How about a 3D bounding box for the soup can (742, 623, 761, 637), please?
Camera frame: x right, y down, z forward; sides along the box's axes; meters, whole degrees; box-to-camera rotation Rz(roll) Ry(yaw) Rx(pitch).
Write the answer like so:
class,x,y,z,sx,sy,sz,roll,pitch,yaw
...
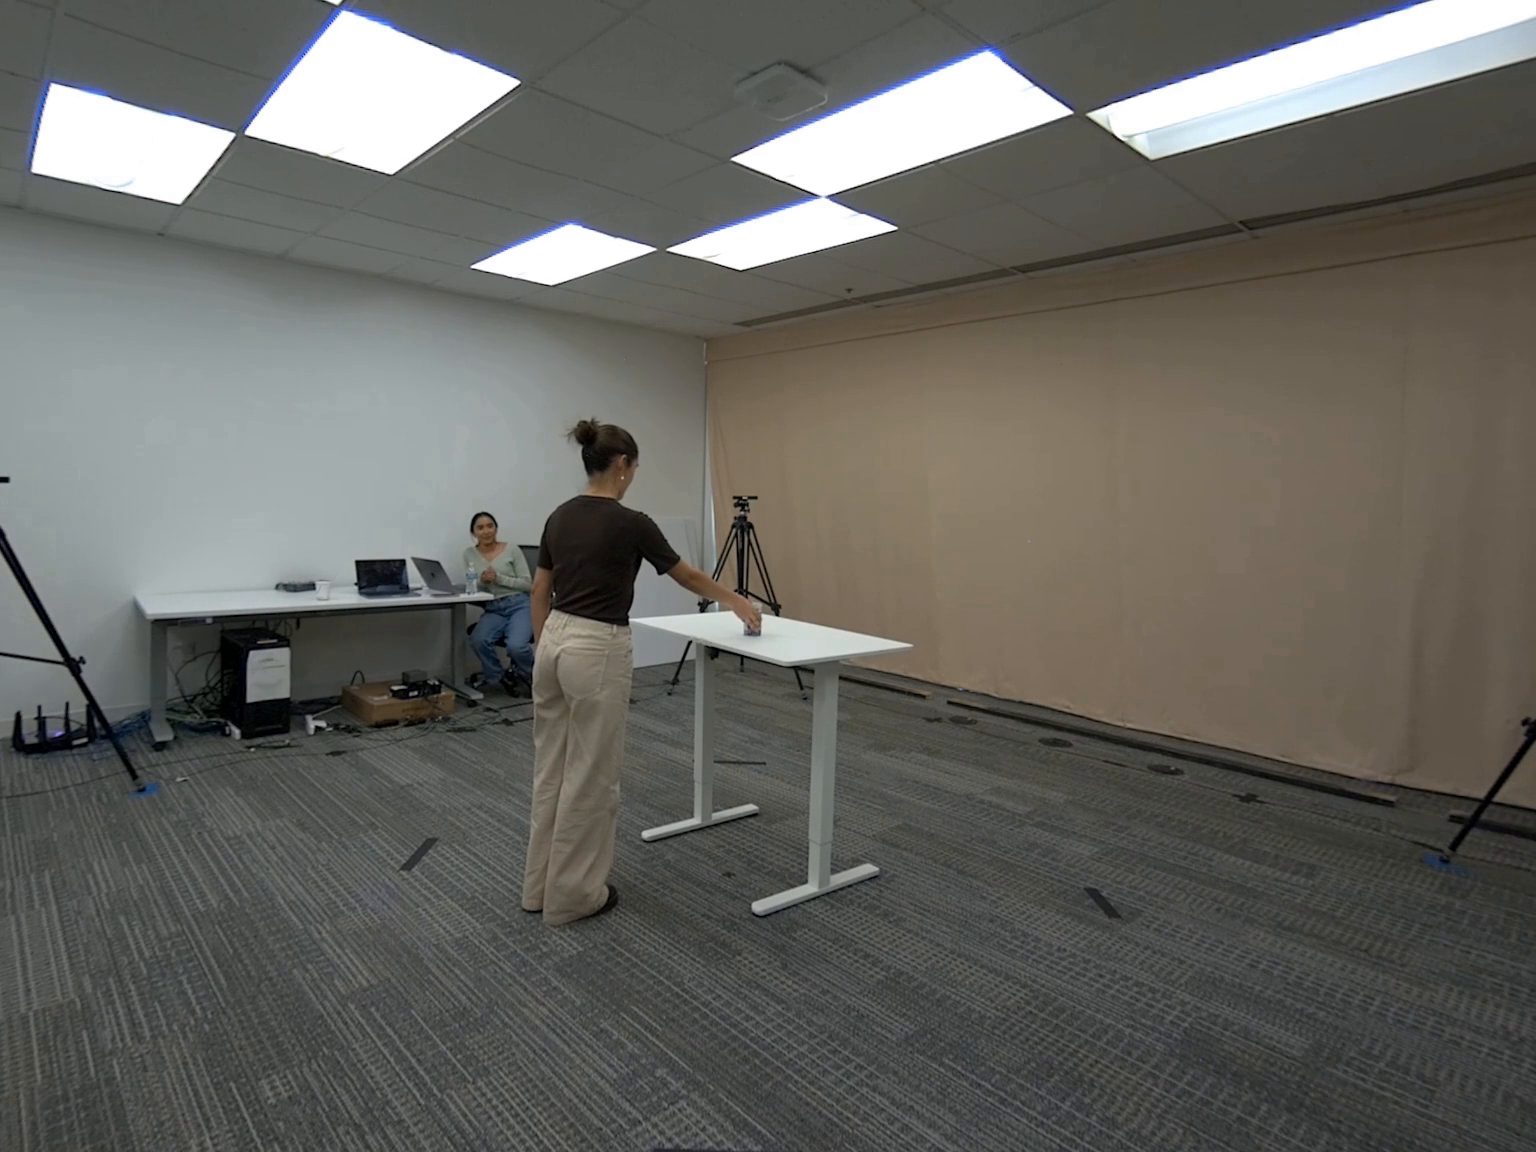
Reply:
class,x,y,z,sx,sy,sz,roll,pitch,yaw
soup can,-0.064,0.161,3.123,0.067,0.121,0.067,1,3,-1
